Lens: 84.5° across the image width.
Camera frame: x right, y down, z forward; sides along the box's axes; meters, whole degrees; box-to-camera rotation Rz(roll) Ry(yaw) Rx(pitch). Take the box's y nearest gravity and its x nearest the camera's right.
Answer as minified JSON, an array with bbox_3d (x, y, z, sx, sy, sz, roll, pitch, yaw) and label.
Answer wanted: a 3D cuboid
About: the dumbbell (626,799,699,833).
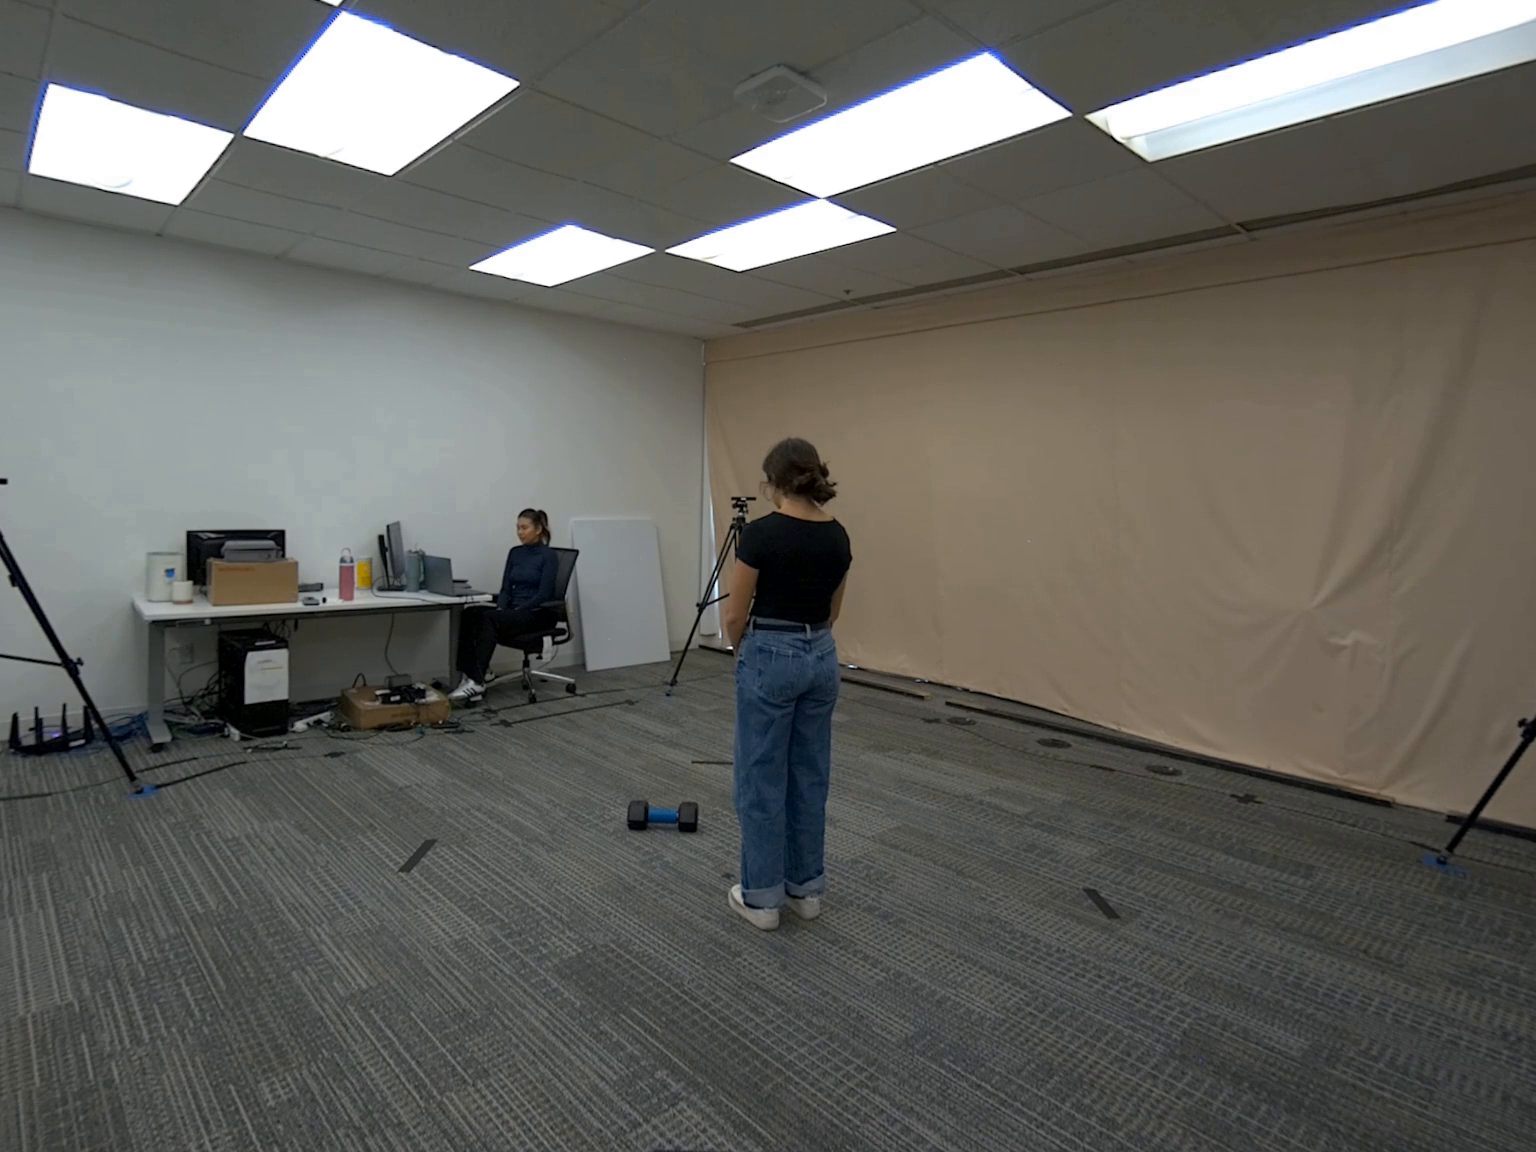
[{"bbox_3d":[-0.448,1.010,3.535,0.294,0.120,0.111,2,35,2],"label":"dumbbell"}]
